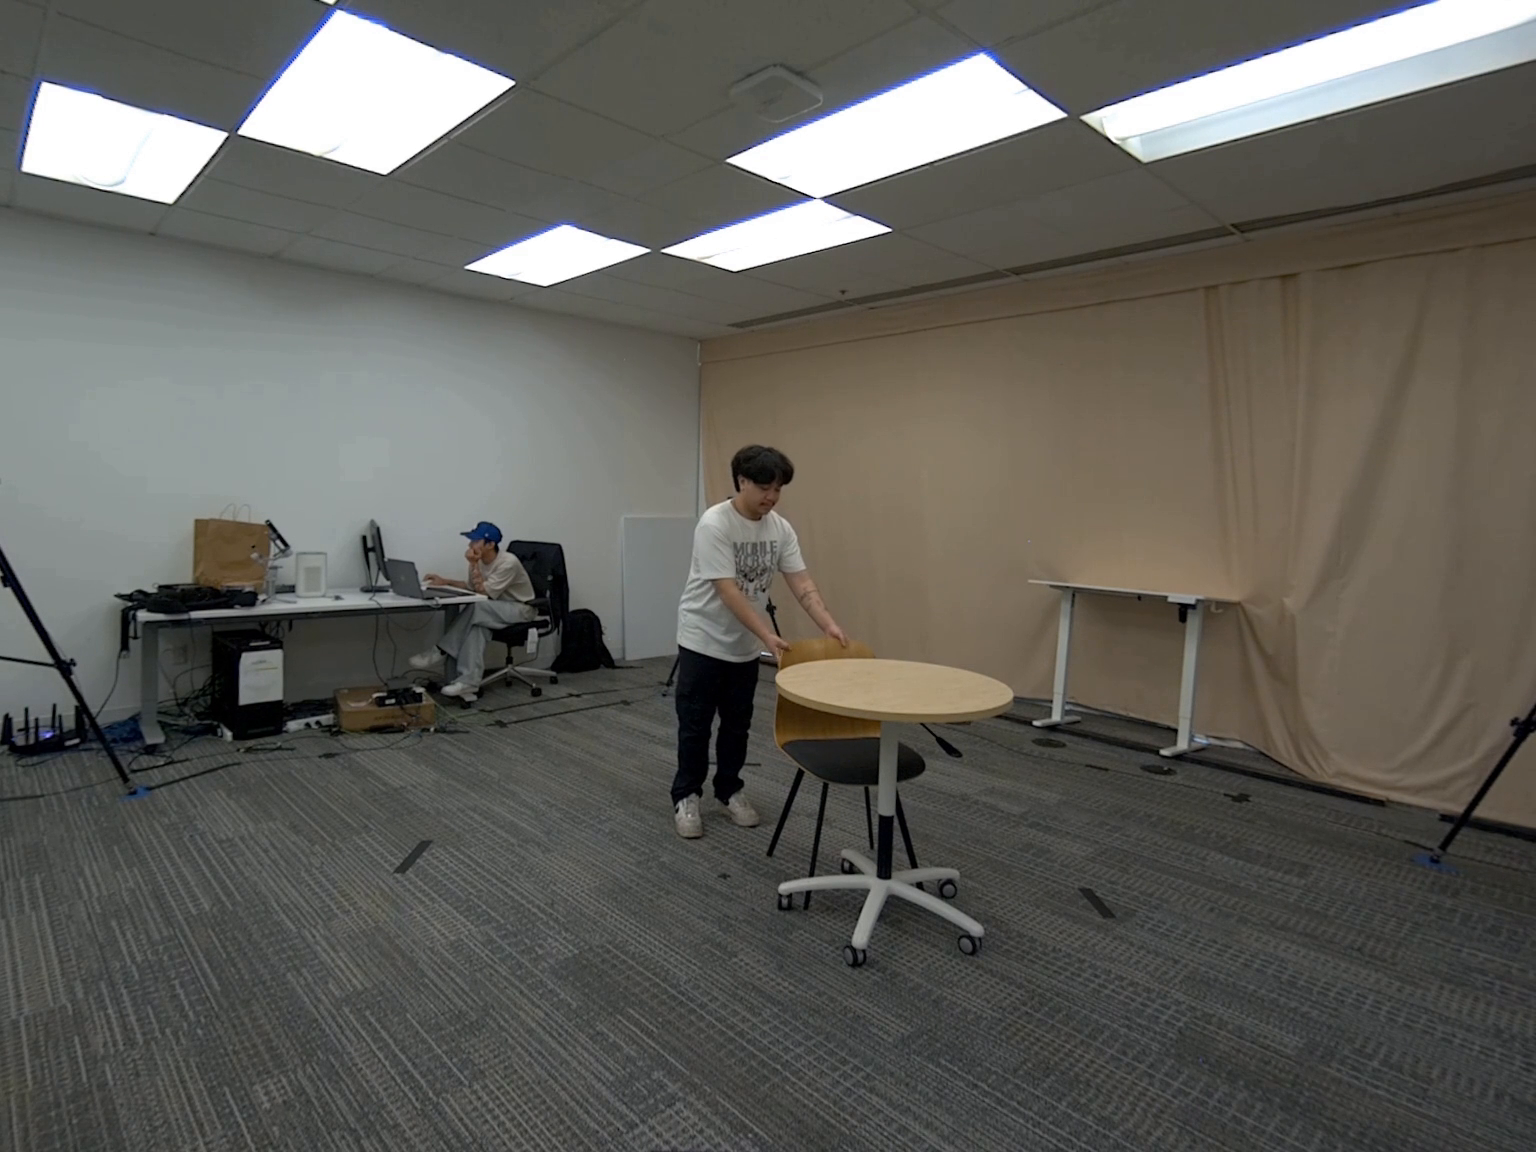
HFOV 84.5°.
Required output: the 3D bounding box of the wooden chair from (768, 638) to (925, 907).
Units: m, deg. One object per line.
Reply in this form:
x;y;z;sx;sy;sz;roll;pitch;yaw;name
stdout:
0.275;0.690;3.091;0.472;0.878;0.529;1;-1;-16;wooden chair
